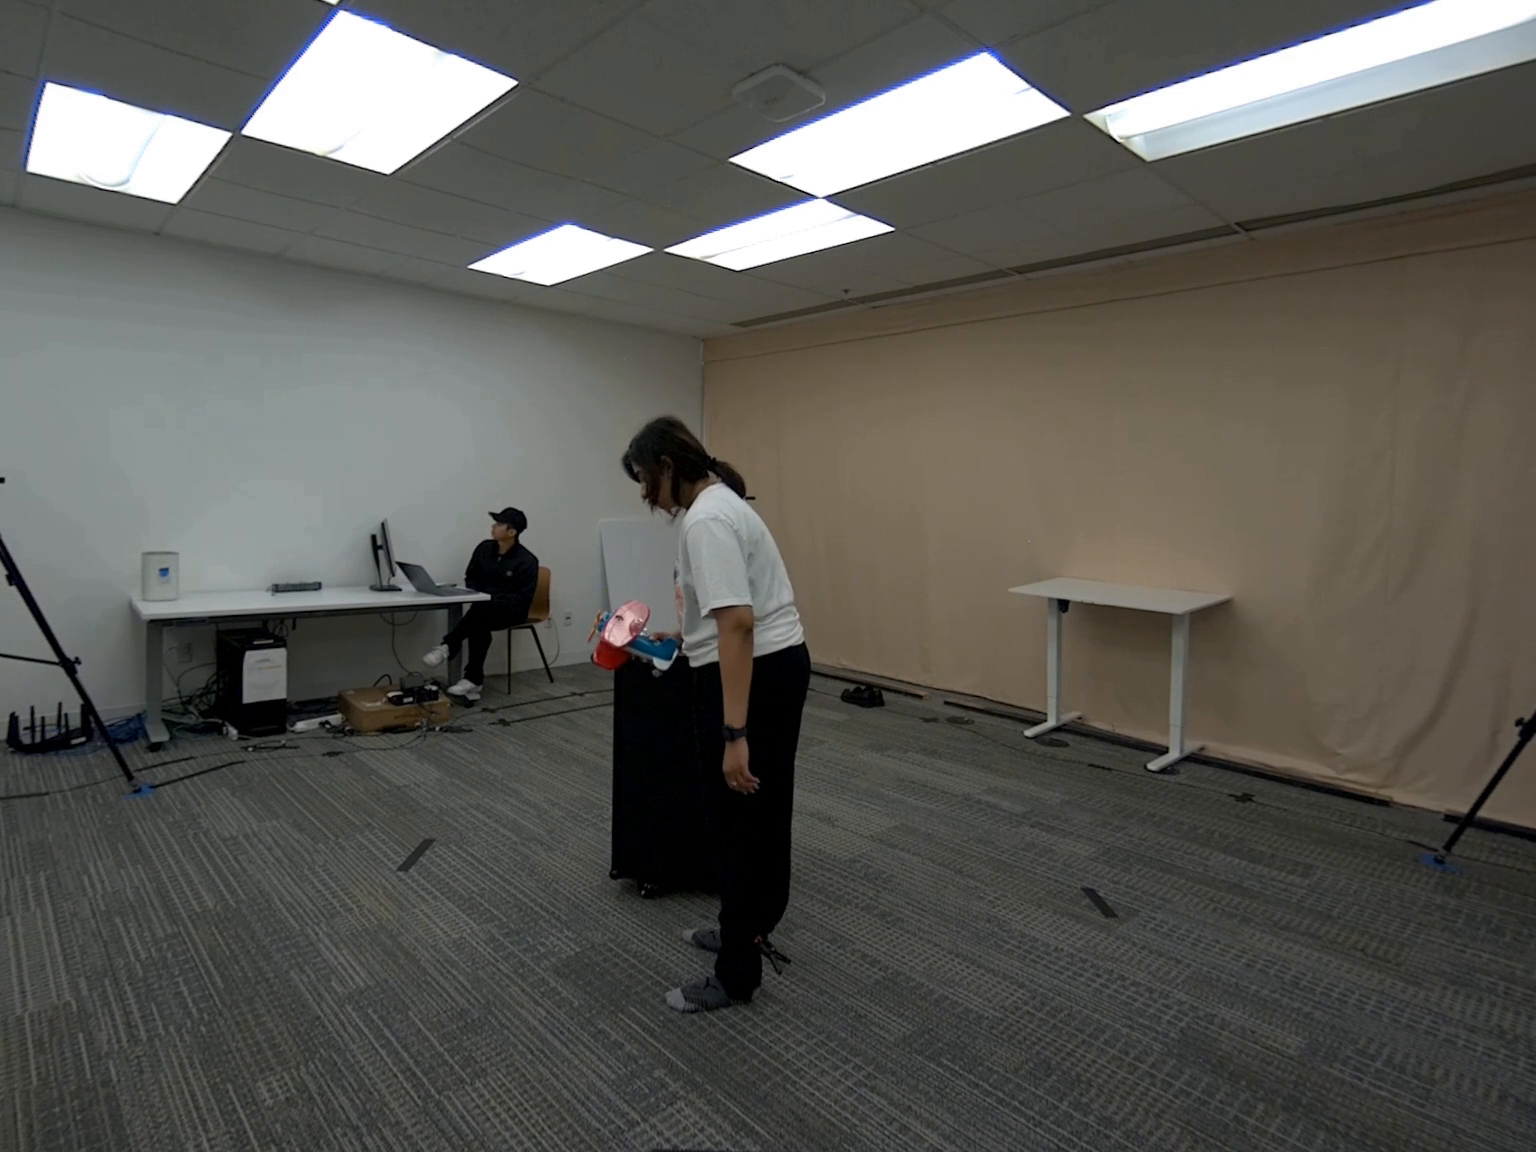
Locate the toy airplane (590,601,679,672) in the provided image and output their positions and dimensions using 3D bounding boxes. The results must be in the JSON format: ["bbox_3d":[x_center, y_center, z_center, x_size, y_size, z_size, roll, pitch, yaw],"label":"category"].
[{"bbox_3d":[-0.397,0.201,2.518,0.256,0.154,0.257,2,27,-13],"label":"toy airplane"}]
